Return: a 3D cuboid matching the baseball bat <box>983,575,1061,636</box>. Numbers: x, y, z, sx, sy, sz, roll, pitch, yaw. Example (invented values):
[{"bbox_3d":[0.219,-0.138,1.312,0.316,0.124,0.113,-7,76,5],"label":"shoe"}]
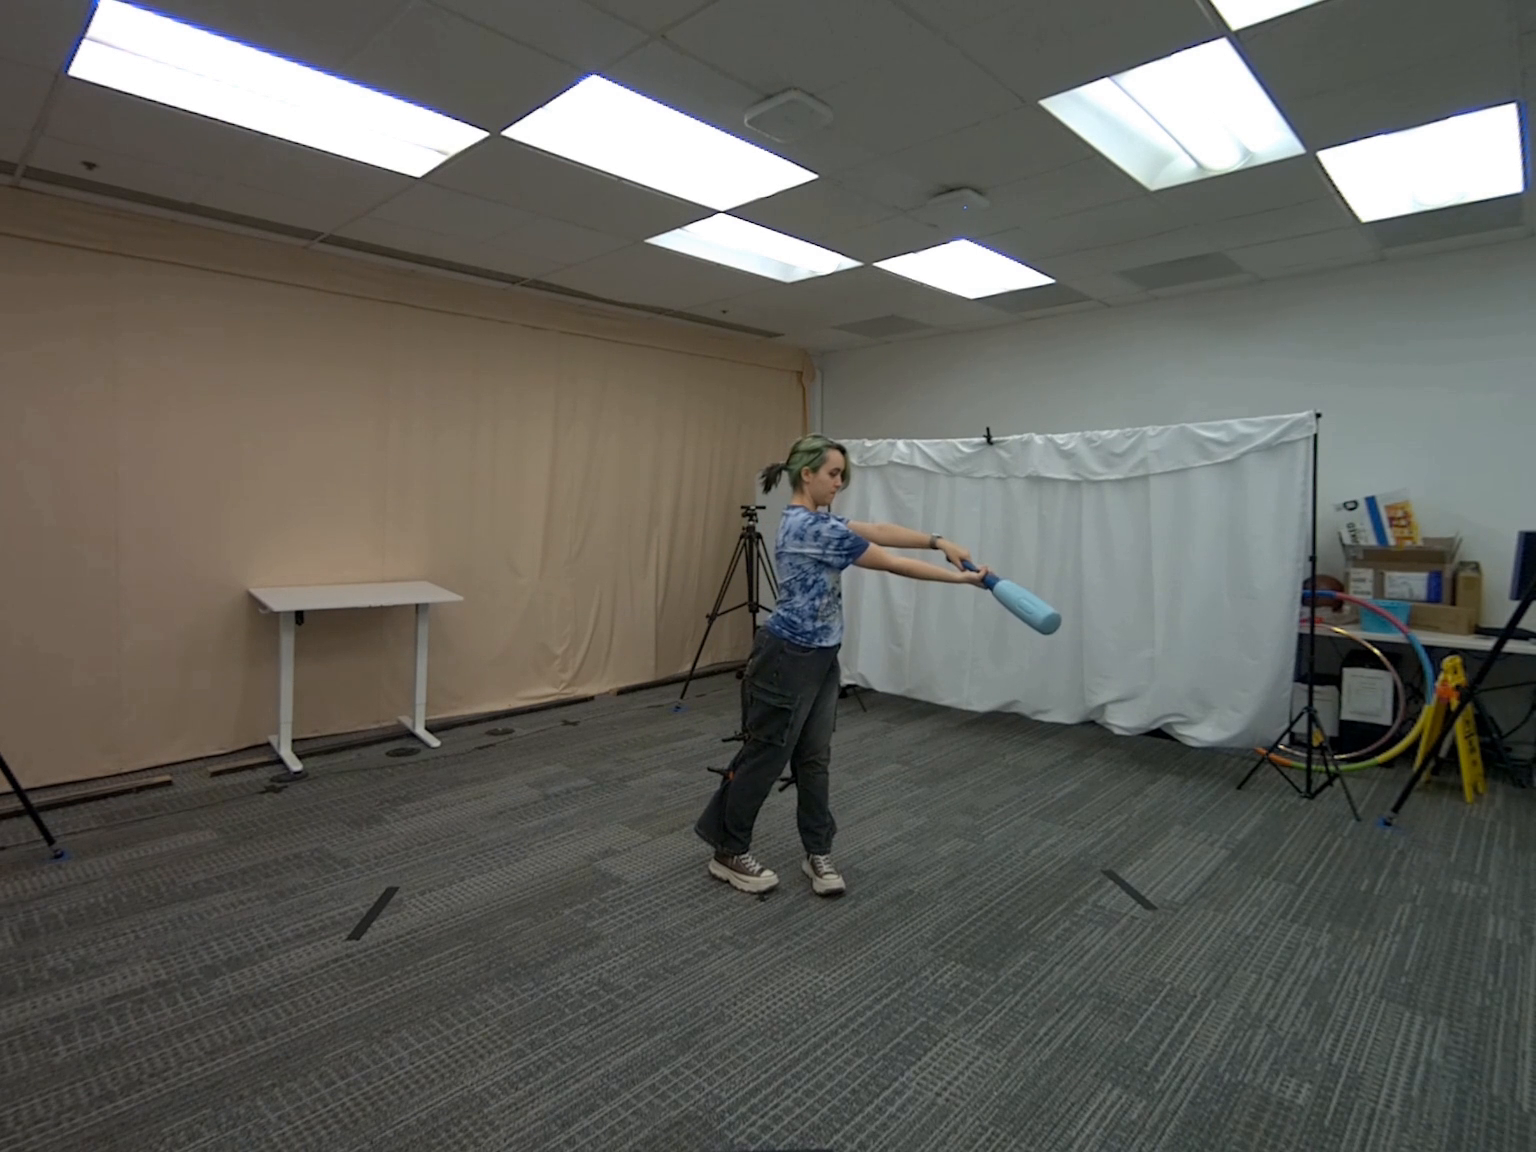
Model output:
[{"bbox_3d":[0.768,0.037,2.794,0.087,0.088,0.561,-2,25,-25],"label":"baseball bat"}]
